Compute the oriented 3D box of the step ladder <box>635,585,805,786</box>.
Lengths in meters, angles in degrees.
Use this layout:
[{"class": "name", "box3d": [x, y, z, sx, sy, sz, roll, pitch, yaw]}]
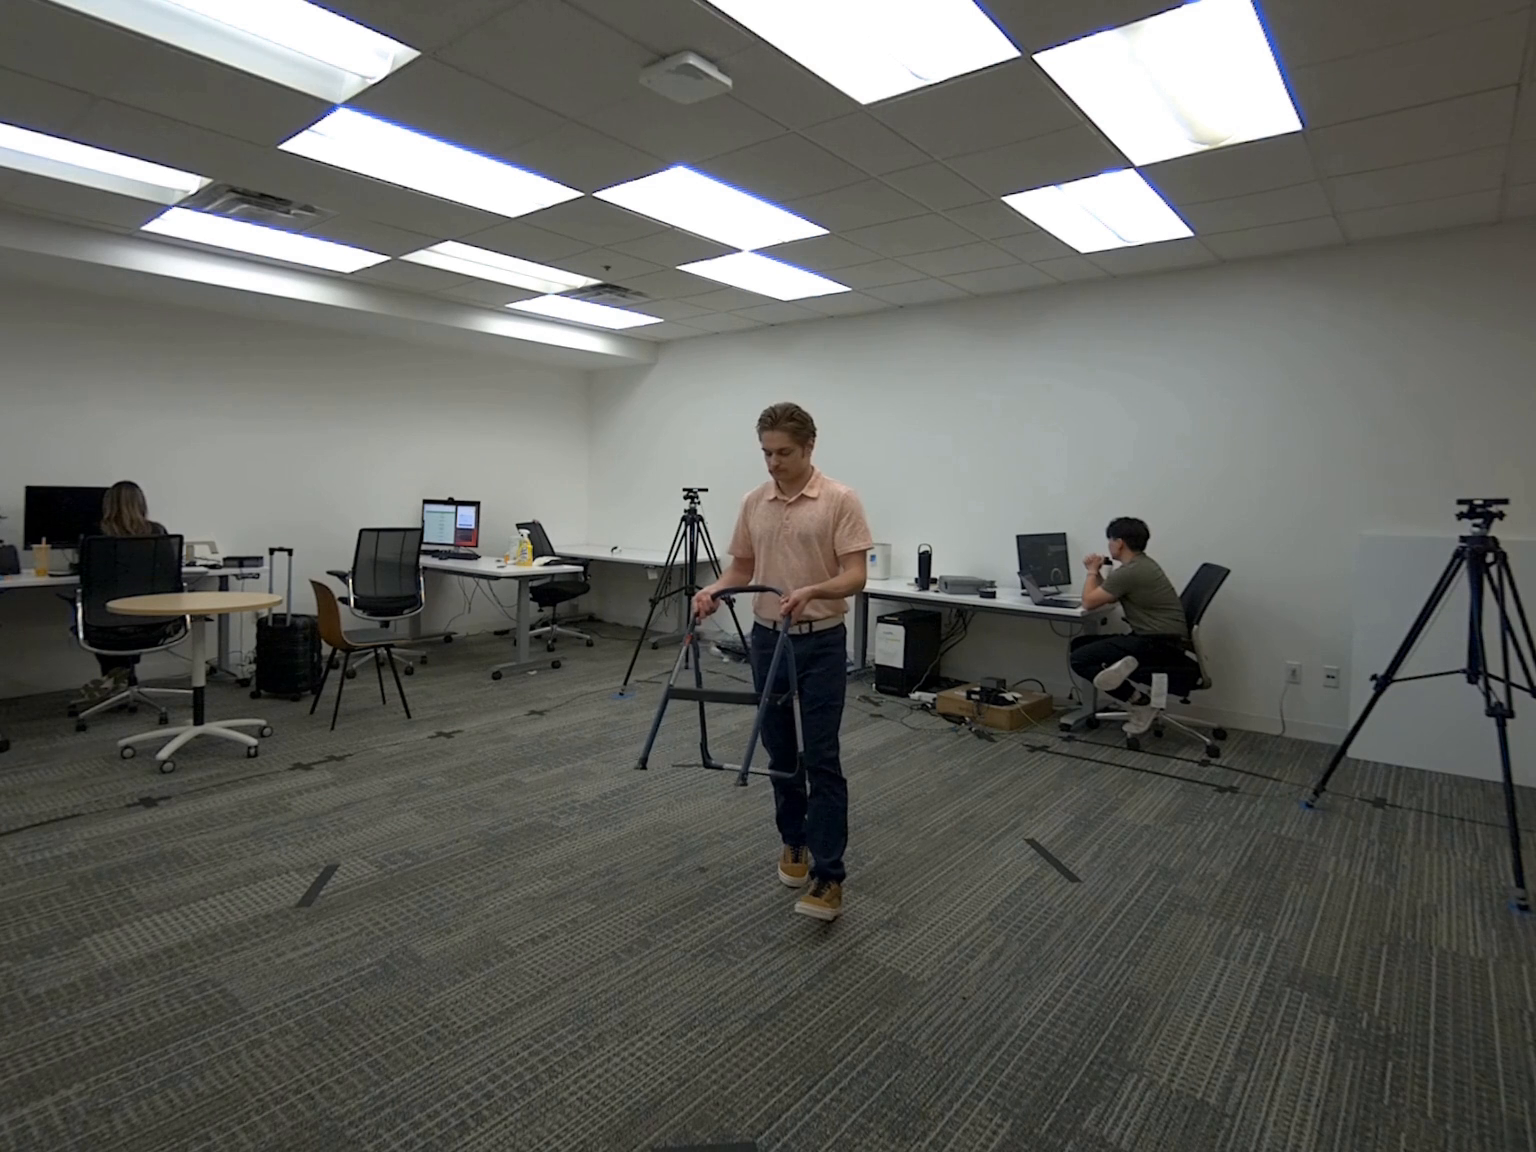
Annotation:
[{"class": "step ladder", "box3d": [-0.134, 0.319, 2.687, 0.443, 0.612, 0.336, -4, -12, 38]}]
